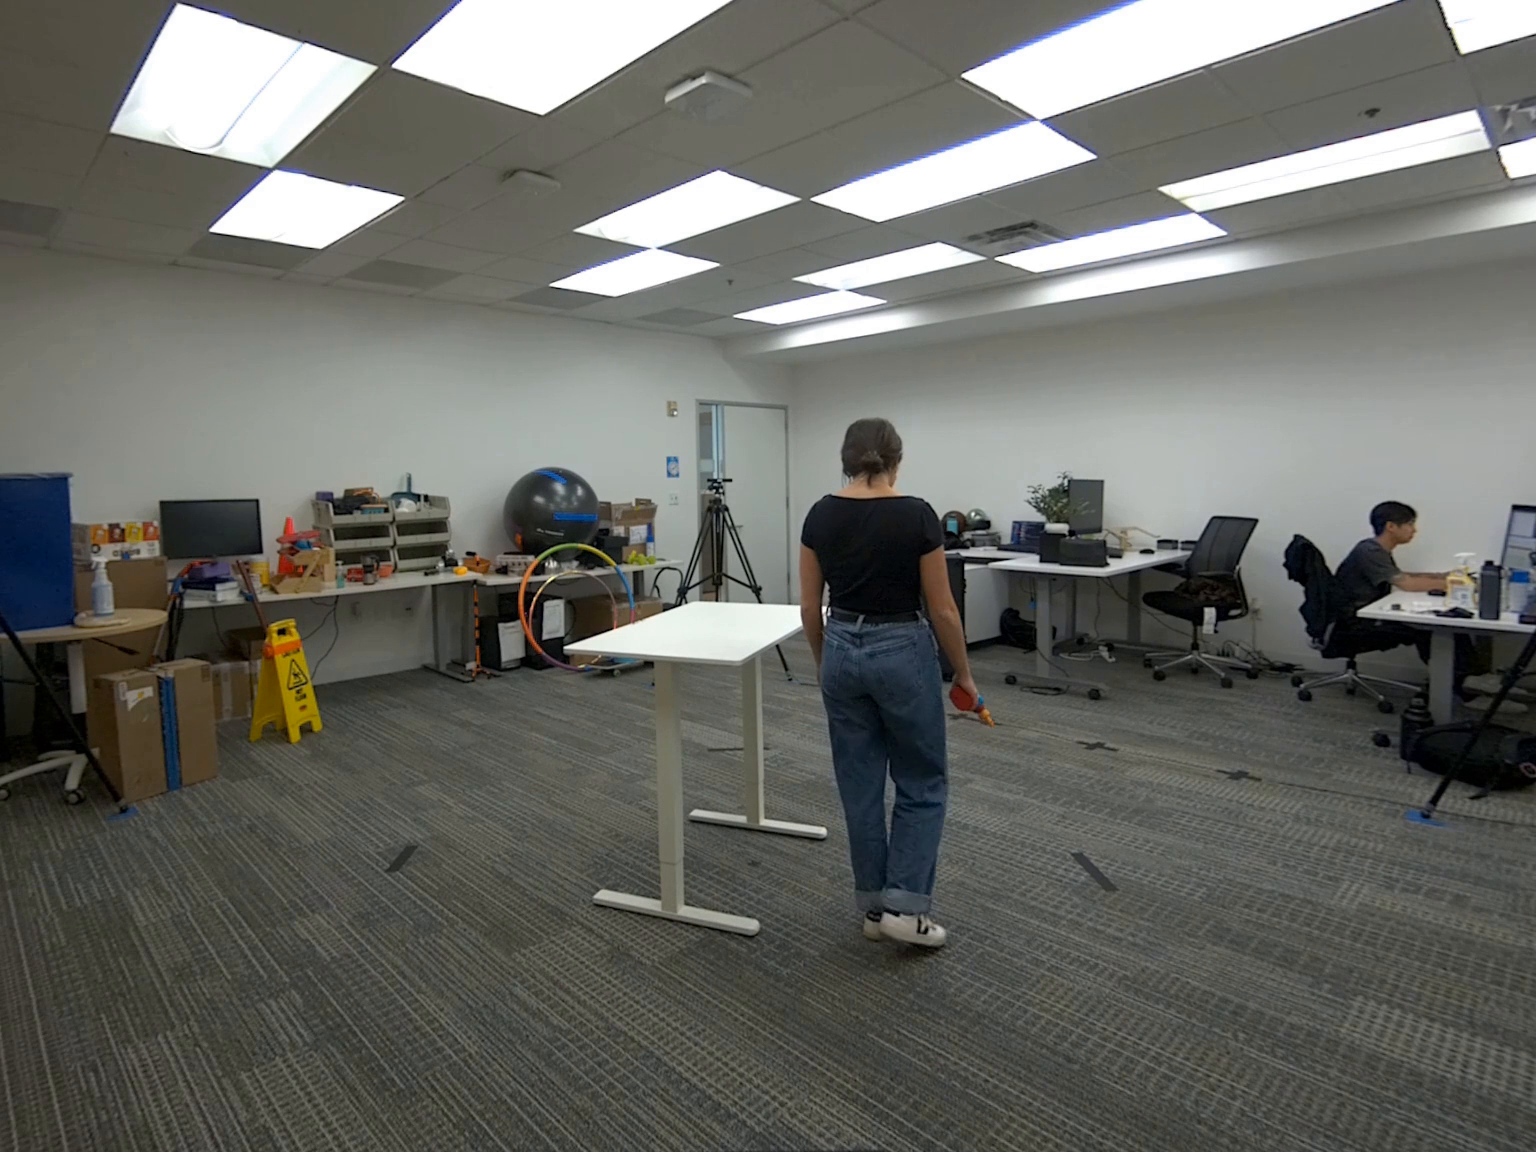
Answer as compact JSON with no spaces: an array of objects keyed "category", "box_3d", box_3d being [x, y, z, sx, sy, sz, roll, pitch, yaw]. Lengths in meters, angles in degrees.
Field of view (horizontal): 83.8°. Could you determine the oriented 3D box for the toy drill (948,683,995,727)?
[{"category":"toy drill","box_3d":[0.620,0.398,2.588,0.061,0.173,0.143,-44,-16,22]}]
